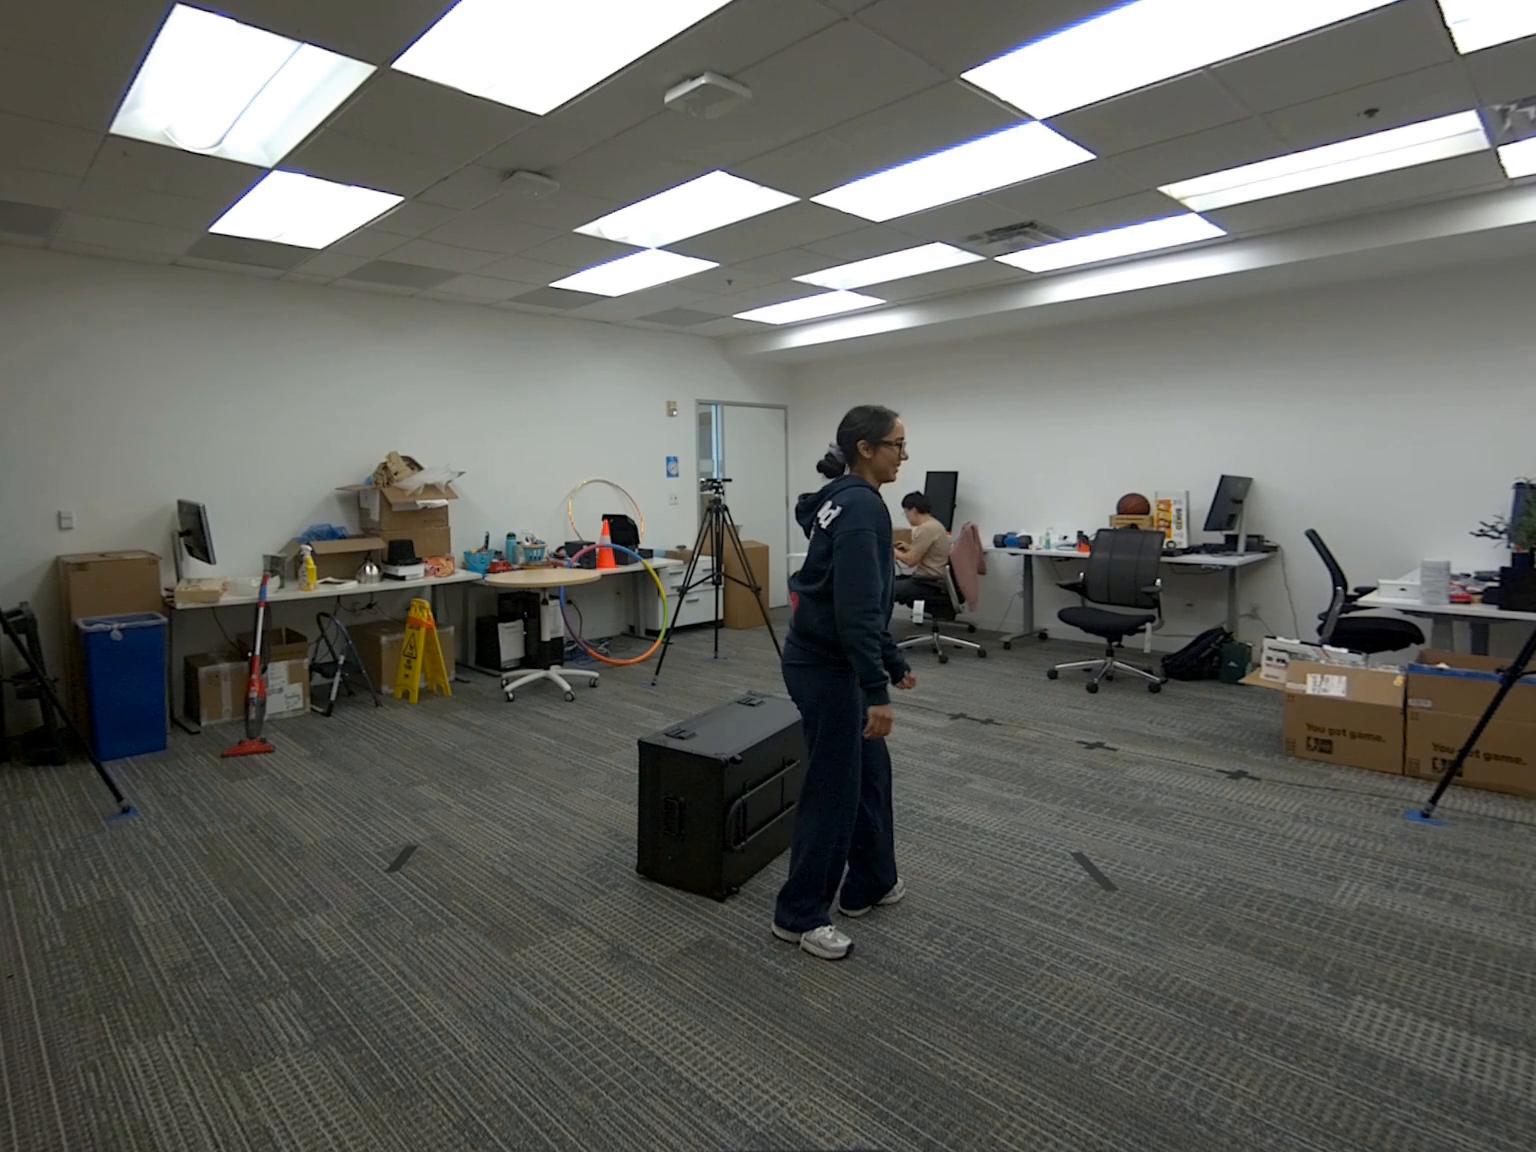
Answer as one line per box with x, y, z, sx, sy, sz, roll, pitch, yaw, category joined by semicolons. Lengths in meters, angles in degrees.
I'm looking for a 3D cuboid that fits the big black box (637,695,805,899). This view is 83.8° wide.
-0.086;0.775;3.238;0.407;0.518;0.843;5;8;29;big black box
